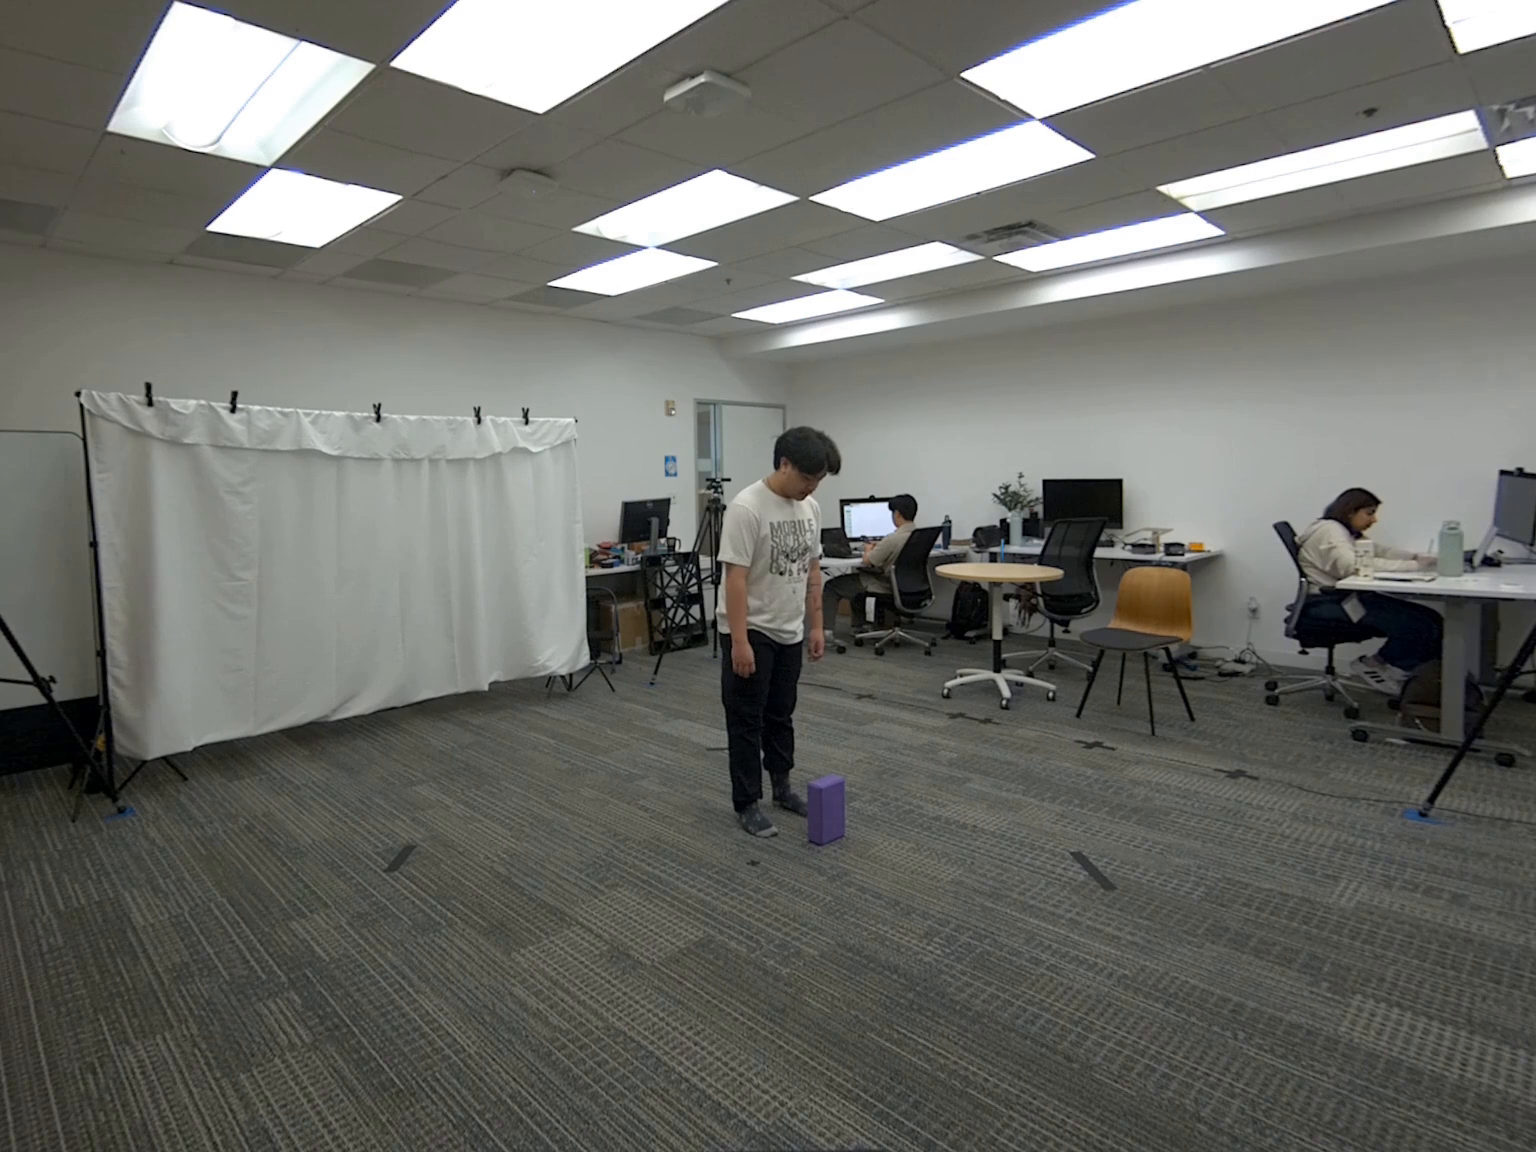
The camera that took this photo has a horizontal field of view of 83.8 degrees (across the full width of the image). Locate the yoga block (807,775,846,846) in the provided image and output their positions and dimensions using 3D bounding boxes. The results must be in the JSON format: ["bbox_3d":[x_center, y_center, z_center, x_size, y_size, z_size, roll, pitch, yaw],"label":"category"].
[{"bbox_3d":[0.229,0.901,3.302,0.145,0.229,0.079,-4,4,-43],"label":"yoga block"}]
